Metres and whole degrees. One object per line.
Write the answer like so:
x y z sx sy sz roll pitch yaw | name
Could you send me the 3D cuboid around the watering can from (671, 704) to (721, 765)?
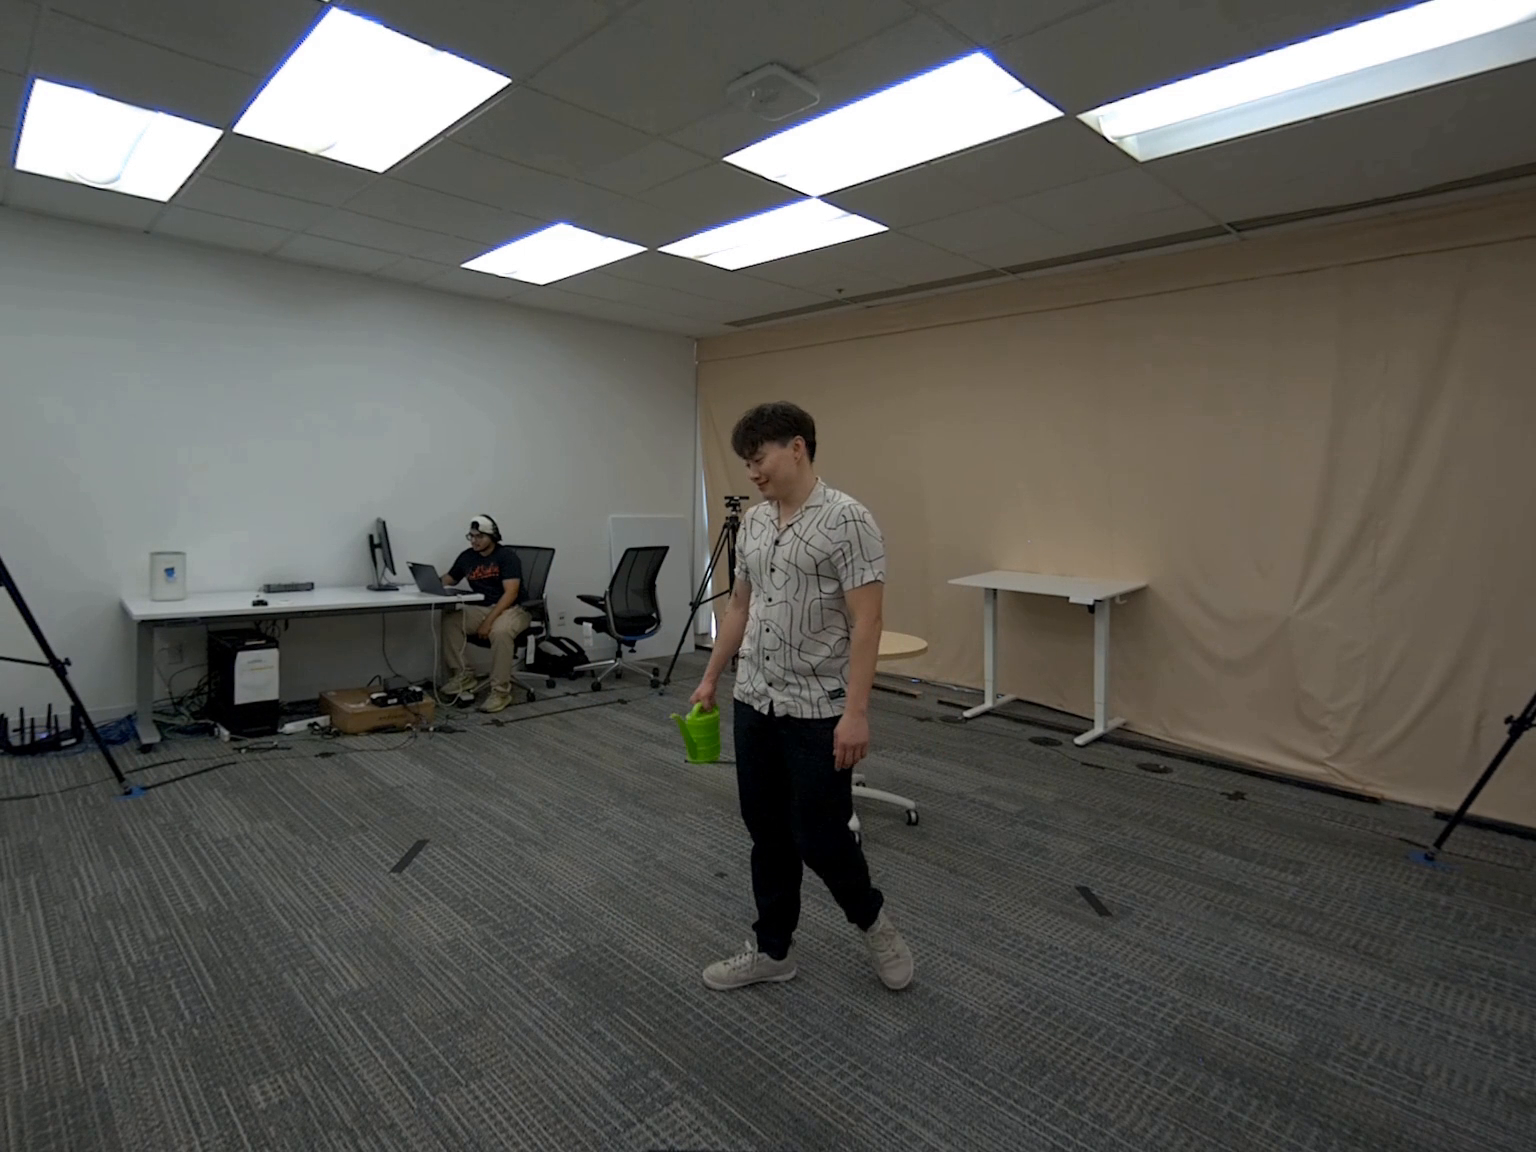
-0.211 0.465 2.499 0.100 0.176 0.272 1 5 39 | watering can
